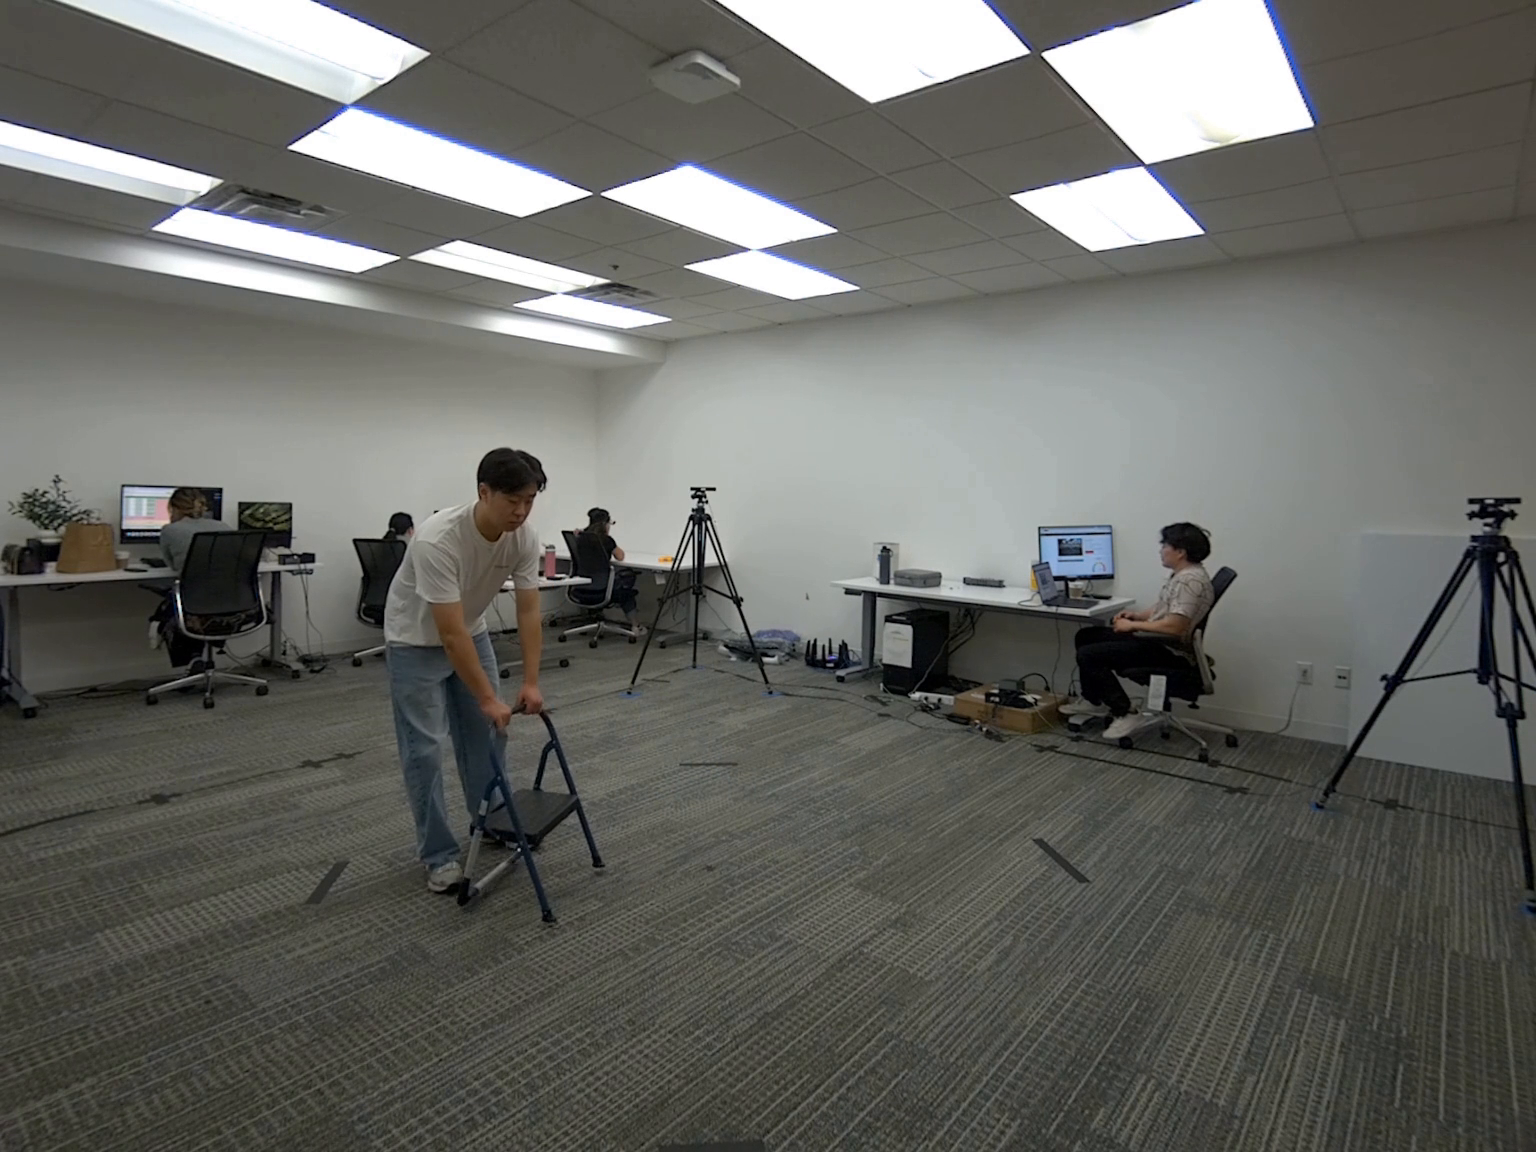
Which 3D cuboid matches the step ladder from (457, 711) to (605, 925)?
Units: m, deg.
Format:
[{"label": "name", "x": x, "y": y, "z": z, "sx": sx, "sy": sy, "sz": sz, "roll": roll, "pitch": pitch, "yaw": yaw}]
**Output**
[{"label": "step ladder", "x": -0.810, "y": 0.742, "z": 2.884, "sx": 0.355, "sy": 0.604, "sz": 0.425, "roll": 3, "pitch": 5, "yaw": 14}]
